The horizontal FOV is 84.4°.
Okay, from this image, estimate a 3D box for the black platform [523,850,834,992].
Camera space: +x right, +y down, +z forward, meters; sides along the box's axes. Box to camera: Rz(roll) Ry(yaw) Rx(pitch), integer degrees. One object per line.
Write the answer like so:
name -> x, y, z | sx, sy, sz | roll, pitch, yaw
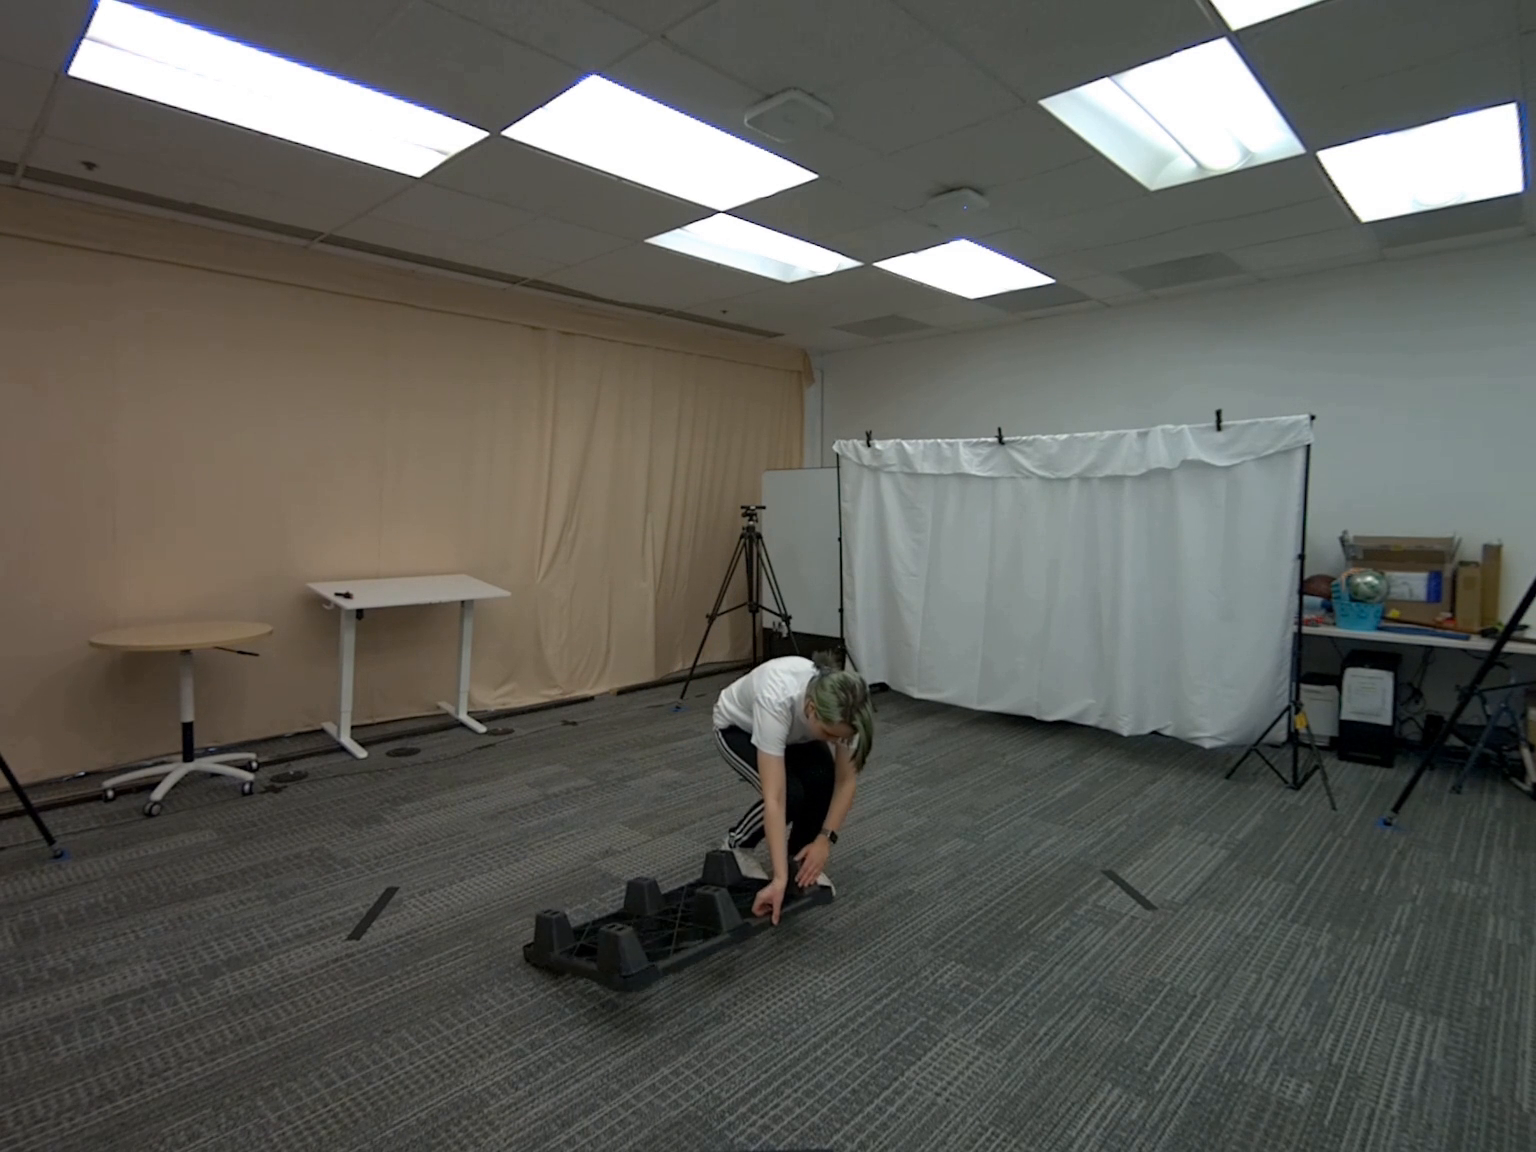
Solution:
black platform -> -0.280, 1.042, 2.643 | 0.781, 0.144, 0.621 | -4, -7, -42
